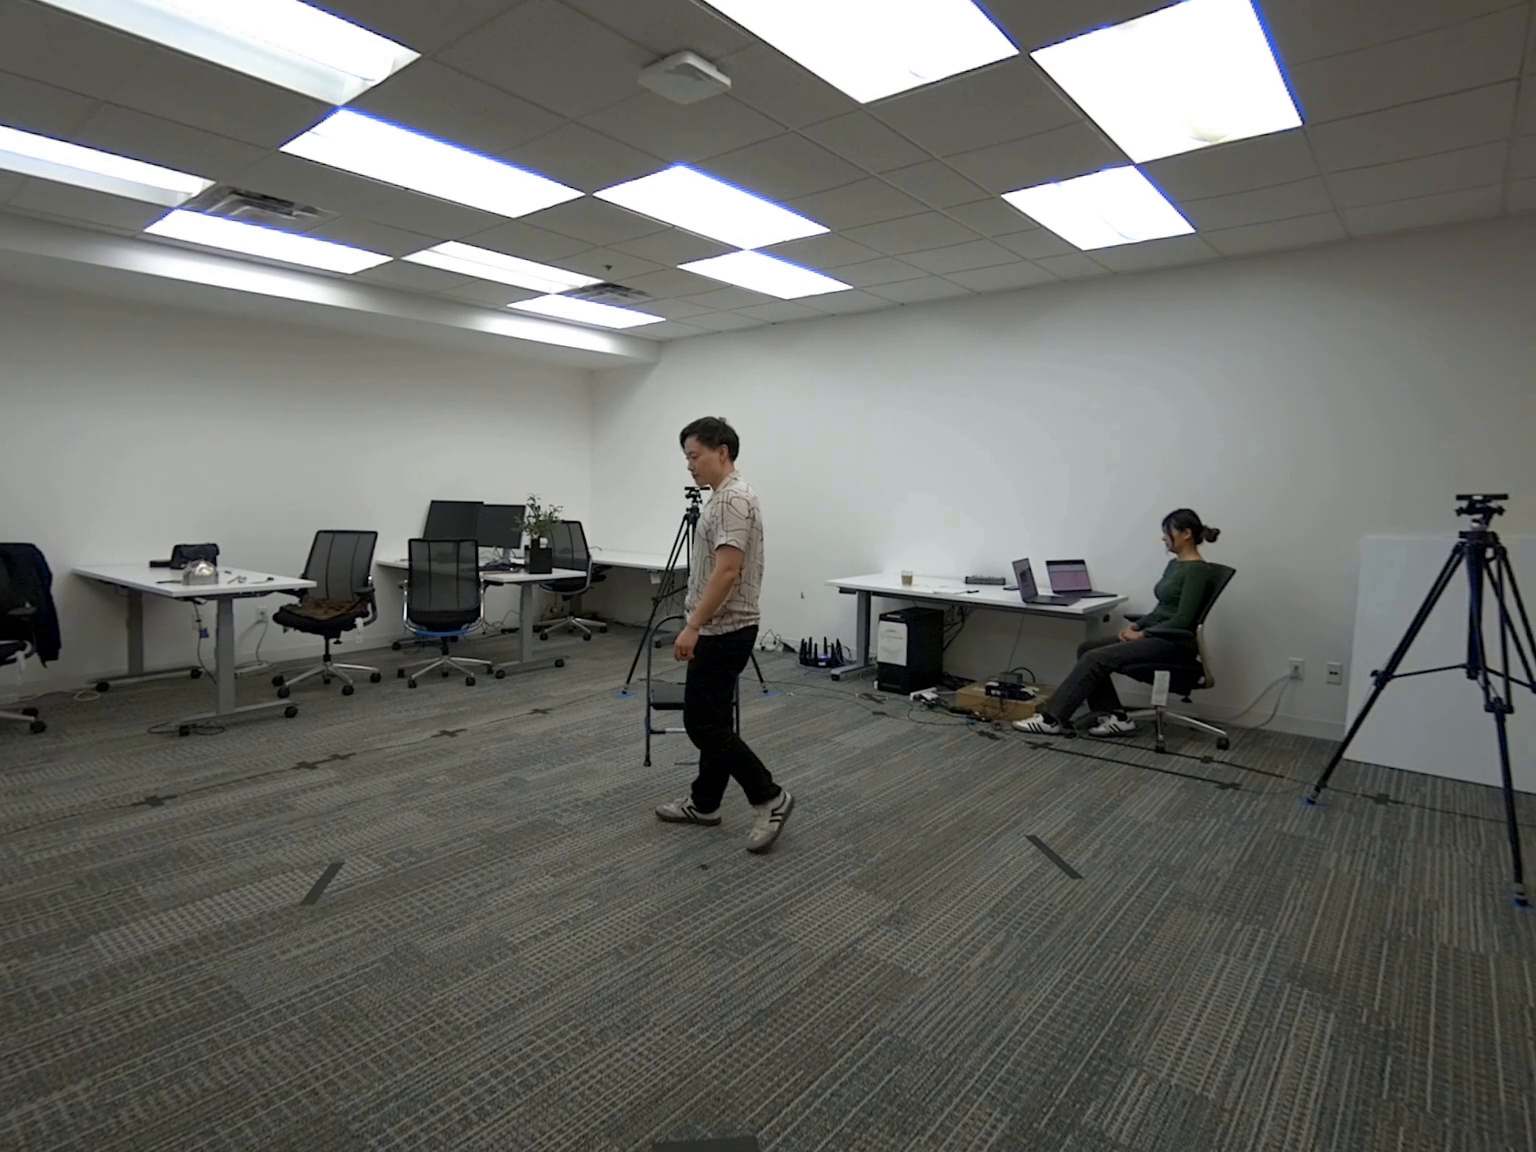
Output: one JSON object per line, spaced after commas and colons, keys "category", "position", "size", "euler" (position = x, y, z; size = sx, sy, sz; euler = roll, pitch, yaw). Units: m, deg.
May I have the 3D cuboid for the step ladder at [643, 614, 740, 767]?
{"category": "step ladder", "position": [-0.343, 0.486, 3.791], "size": [0.428, 0.599, 0.355], "euler": [1, 12, -7]}
